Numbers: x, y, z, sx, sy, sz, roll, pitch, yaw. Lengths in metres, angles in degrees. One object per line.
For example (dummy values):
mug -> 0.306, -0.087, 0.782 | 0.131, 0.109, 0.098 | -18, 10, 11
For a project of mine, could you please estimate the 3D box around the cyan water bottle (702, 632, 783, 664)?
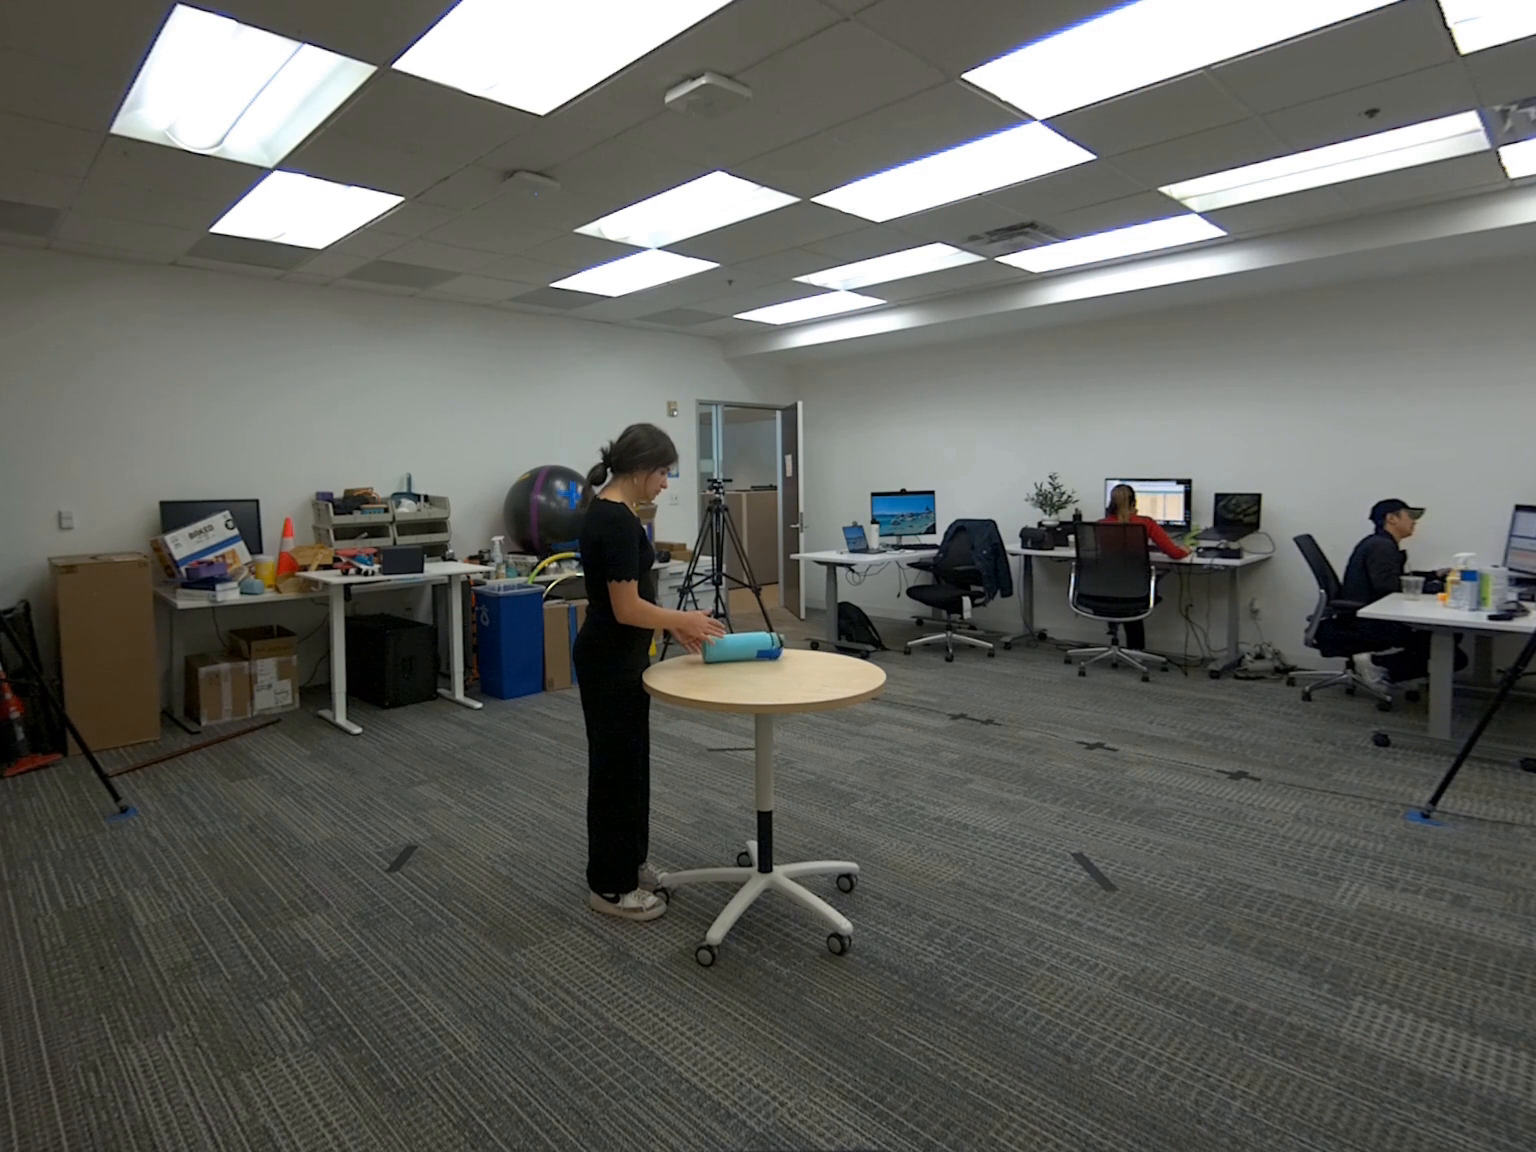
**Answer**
cyan water bottle -> -0.082, 0.238, 2.892 | 0.280, 0.092, 0.093 | -2, 5, -11
